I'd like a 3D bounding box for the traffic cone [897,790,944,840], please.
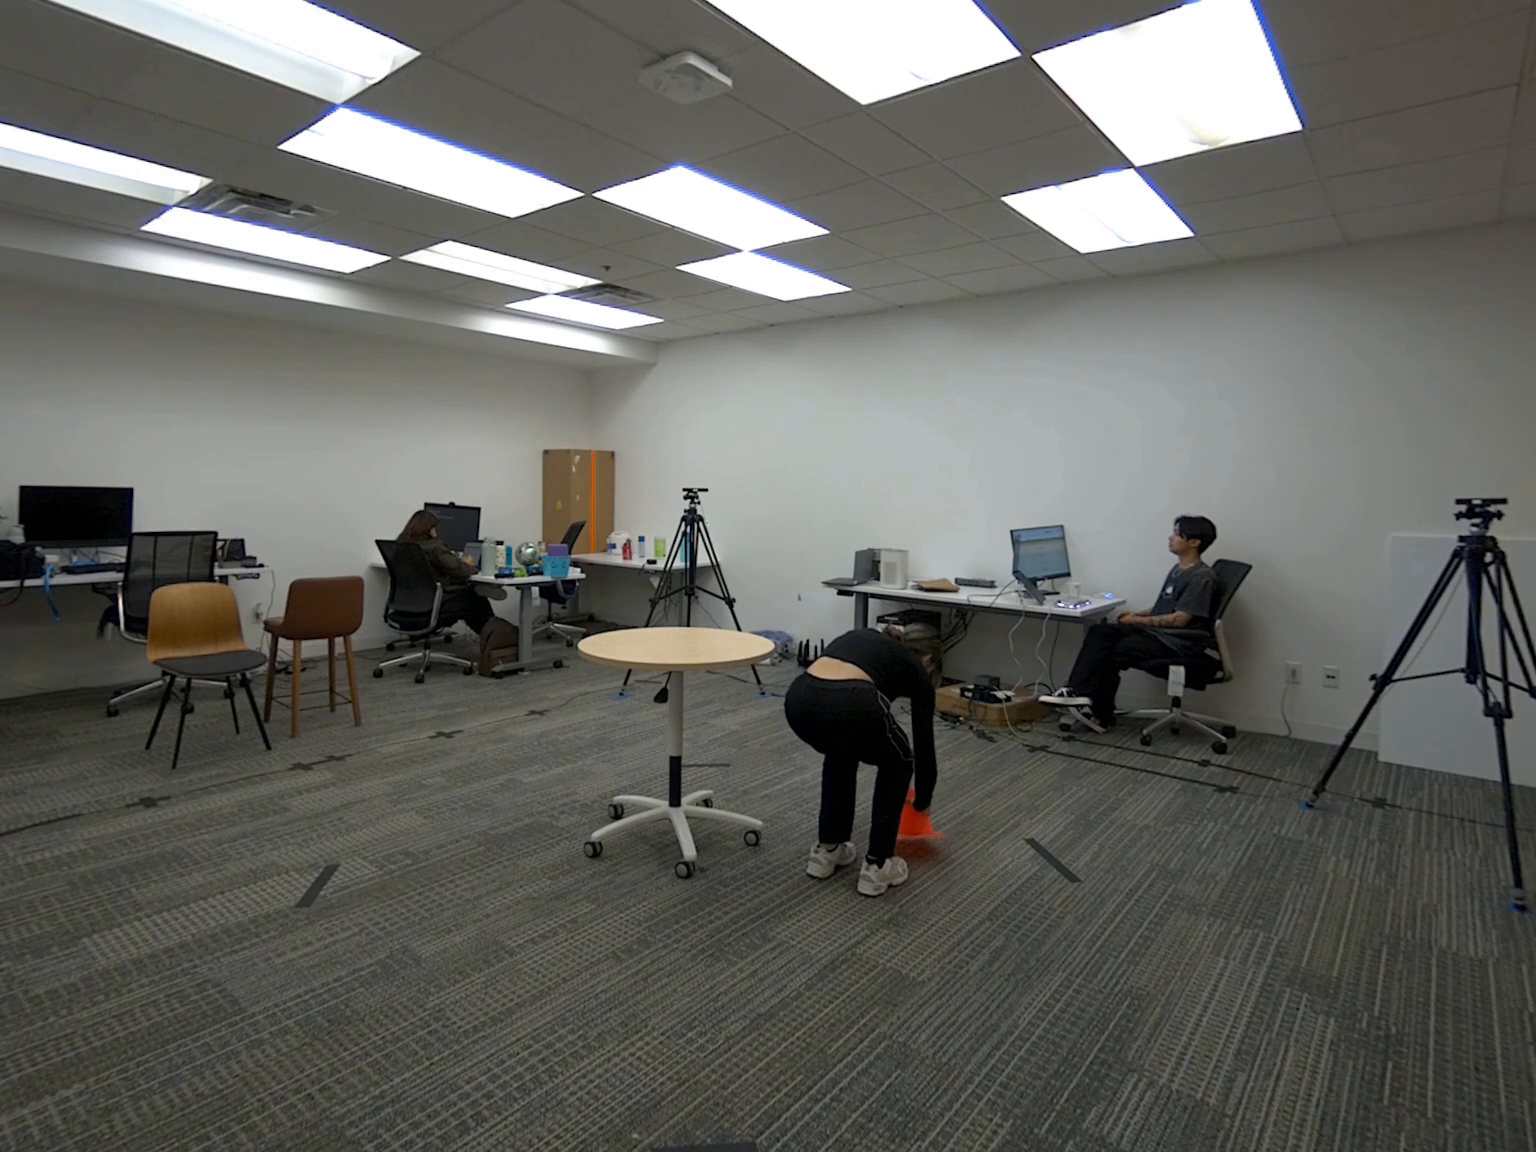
[{"bbox_3d":[0.544,0.827,3.388,0.202,0.389,0.203,-3,-14,-14],"label":"traffic cone"}]
